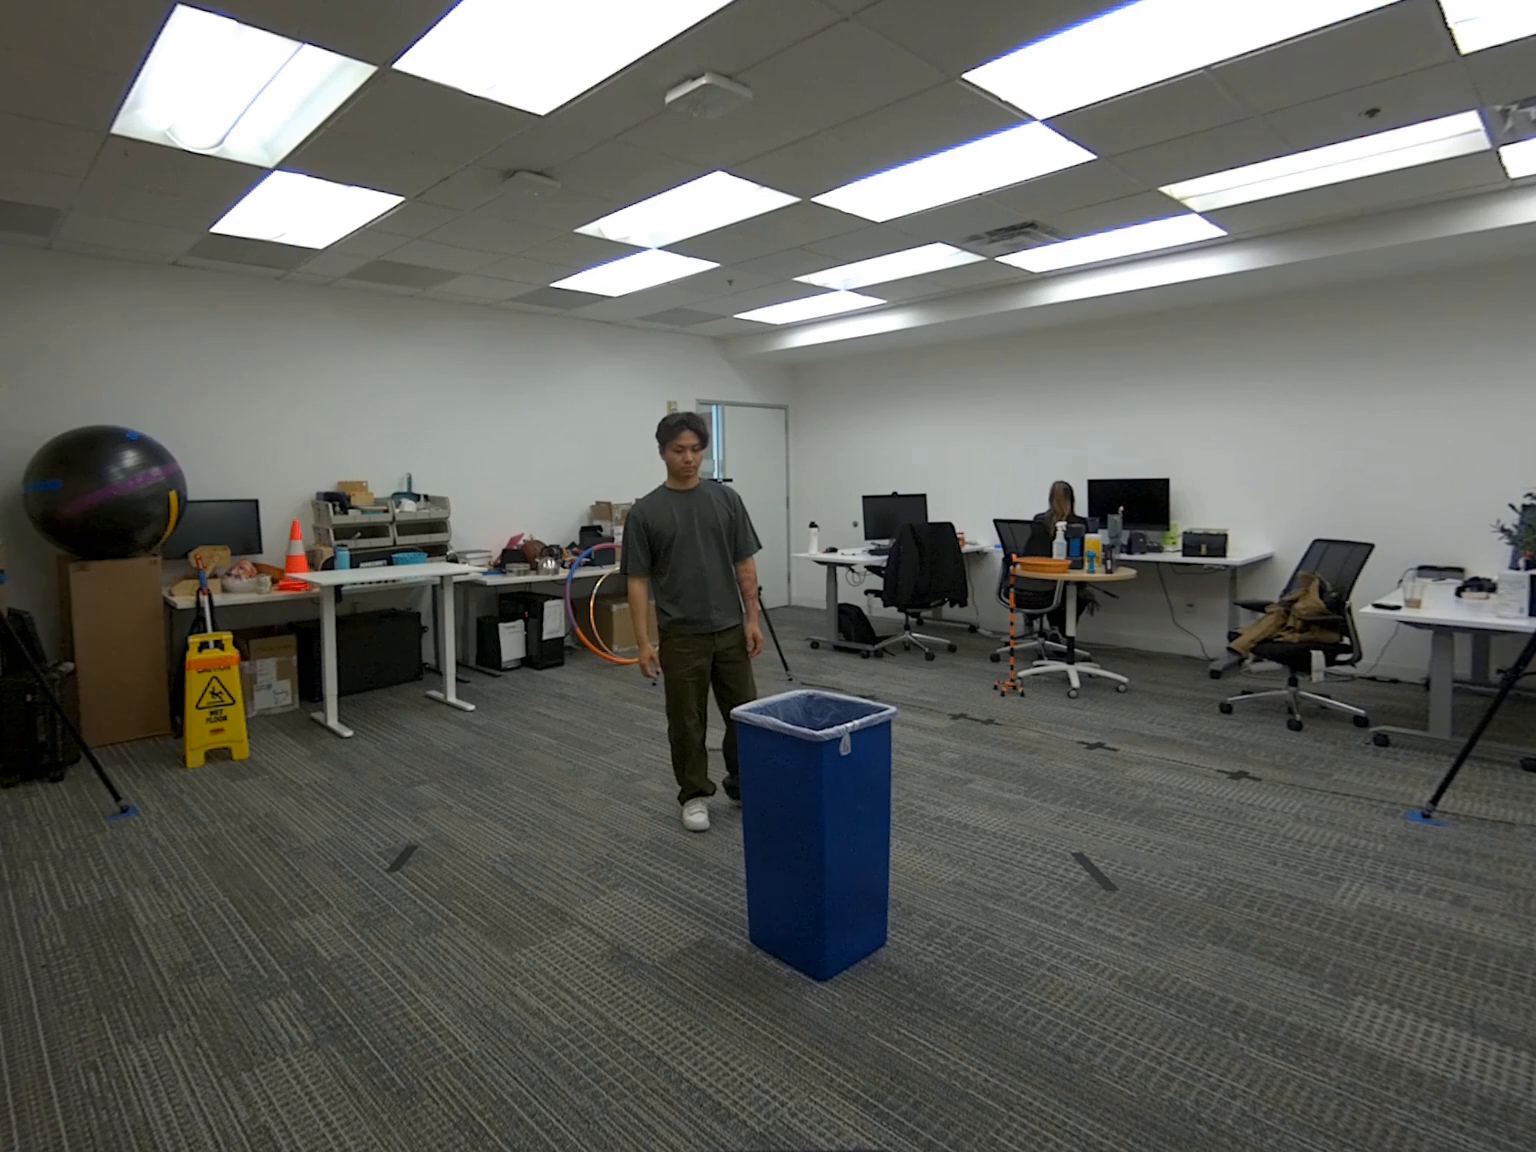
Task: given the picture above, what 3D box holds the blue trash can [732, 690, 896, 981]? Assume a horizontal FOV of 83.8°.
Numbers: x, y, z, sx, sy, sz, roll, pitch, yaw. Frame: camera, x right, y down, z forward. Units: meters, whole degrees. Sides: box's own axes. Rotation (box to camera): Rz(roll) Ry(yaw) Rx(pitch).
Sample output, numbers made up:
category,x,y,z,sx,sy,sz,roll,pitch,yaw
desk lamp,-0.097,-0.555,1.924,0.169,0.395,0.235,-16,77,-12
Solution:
category,x,y,z,sx,sy,sz,roll,pitch,yaw
blue trash can,0.141,0.748,2.551,0.368,0.711,0.385,-5,6,-44
